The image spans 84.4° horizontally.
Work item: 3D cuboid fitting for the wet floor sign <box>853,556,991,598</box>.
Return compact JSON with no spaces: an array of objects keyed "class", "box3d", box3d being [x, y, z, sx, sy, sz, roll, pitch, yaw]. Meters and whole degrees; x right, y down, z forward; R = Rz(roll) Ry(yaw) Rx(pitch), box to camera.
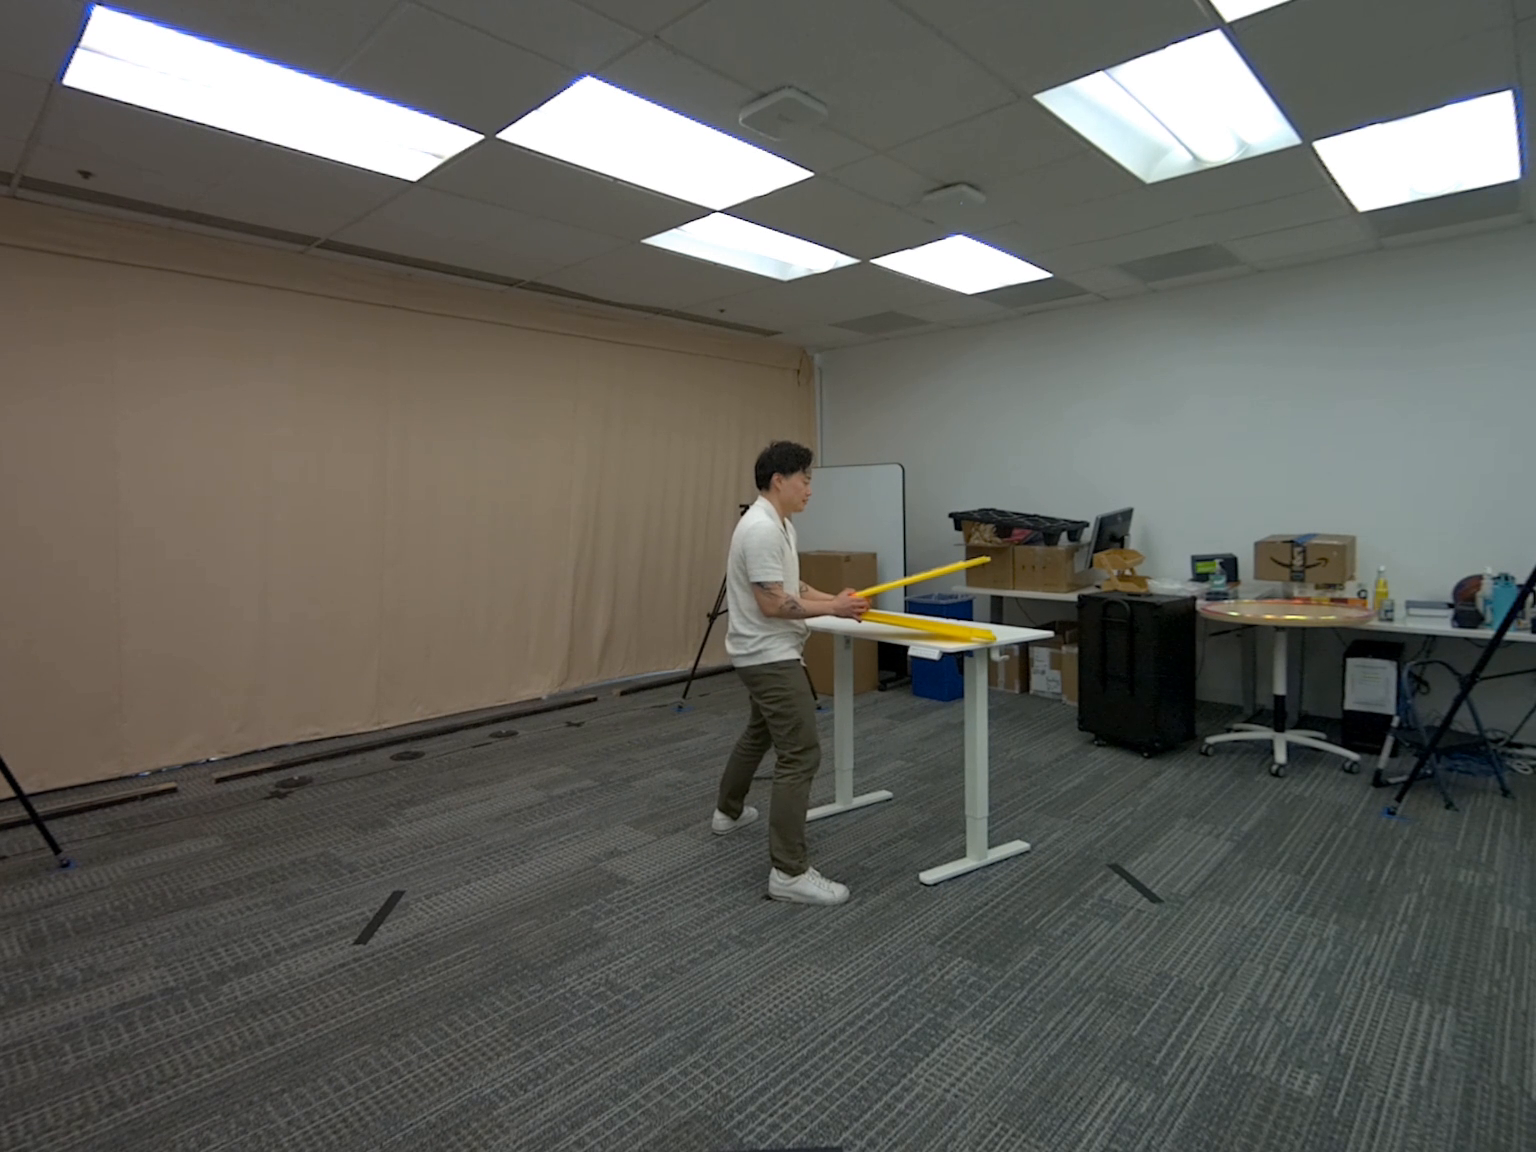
[{"class":"wet floor sign","box3d":[0.519,0.098,3.177,0.654,0.290,0.279,-4,1,12]}]
